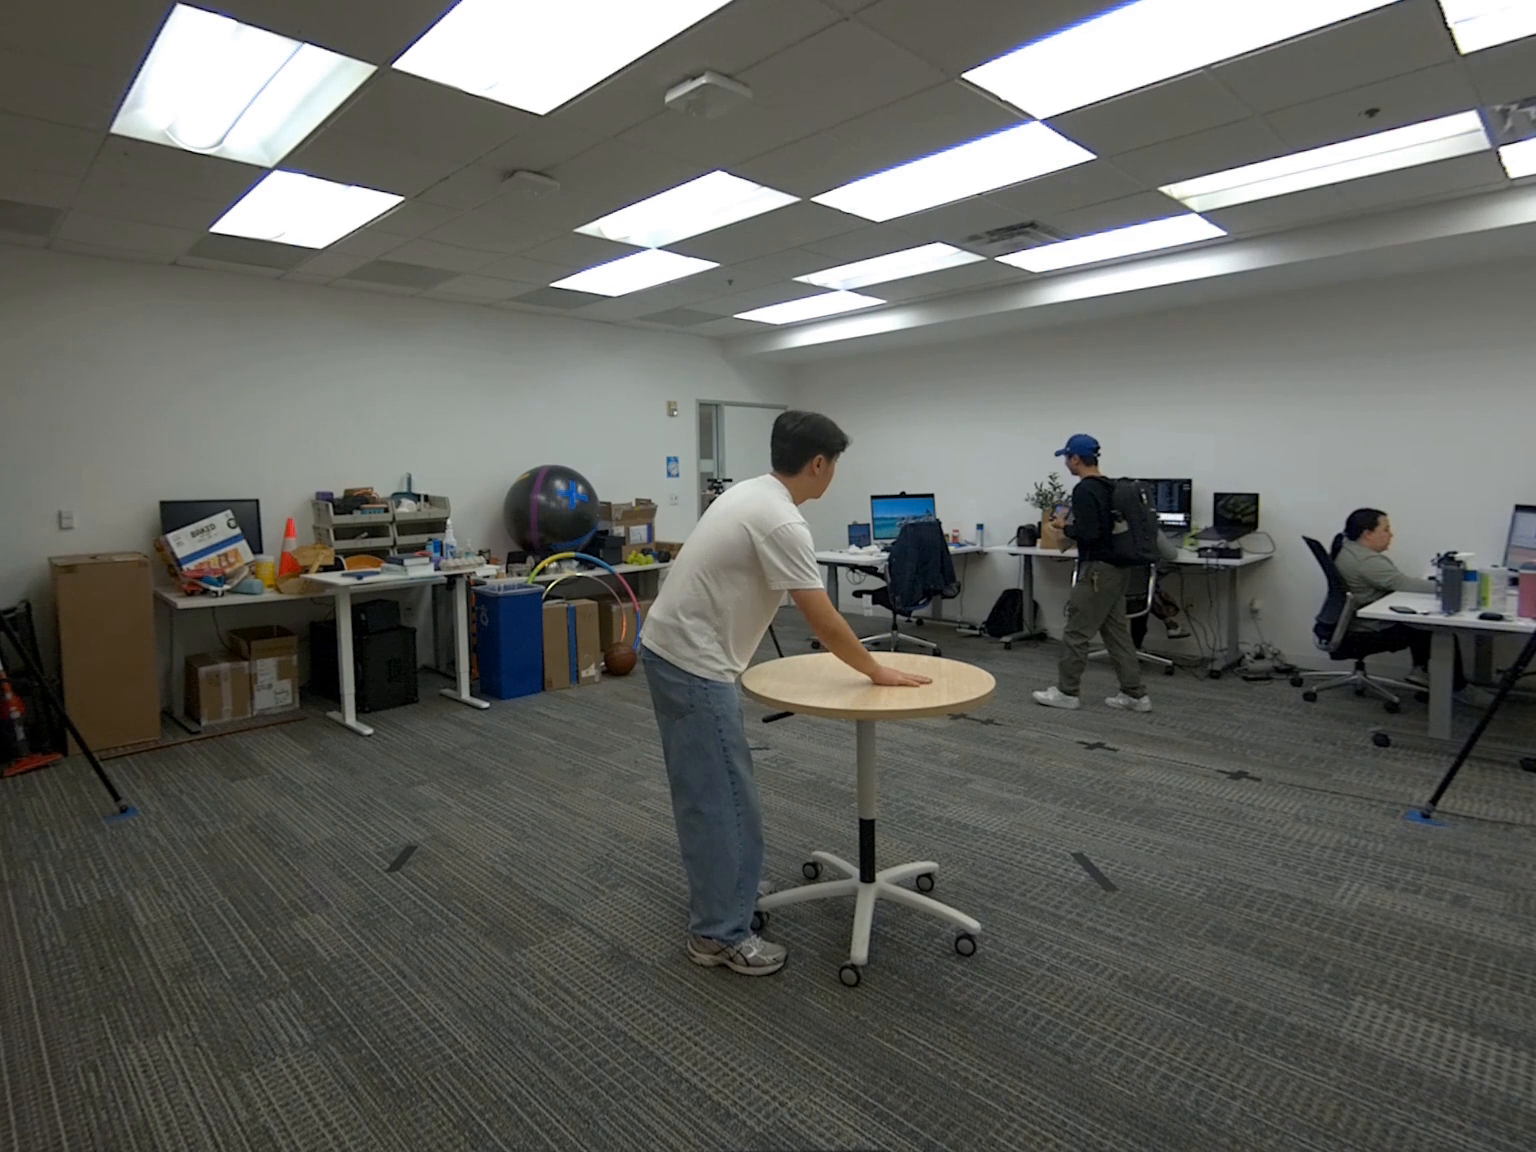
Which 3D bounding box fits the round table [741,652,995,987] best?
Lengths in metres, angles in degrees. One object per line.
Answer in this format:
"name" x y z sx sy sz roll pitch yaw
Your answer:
"round table" 0.308 0.698 2.660 0.763 0.791 0.768 -1 5 -2
